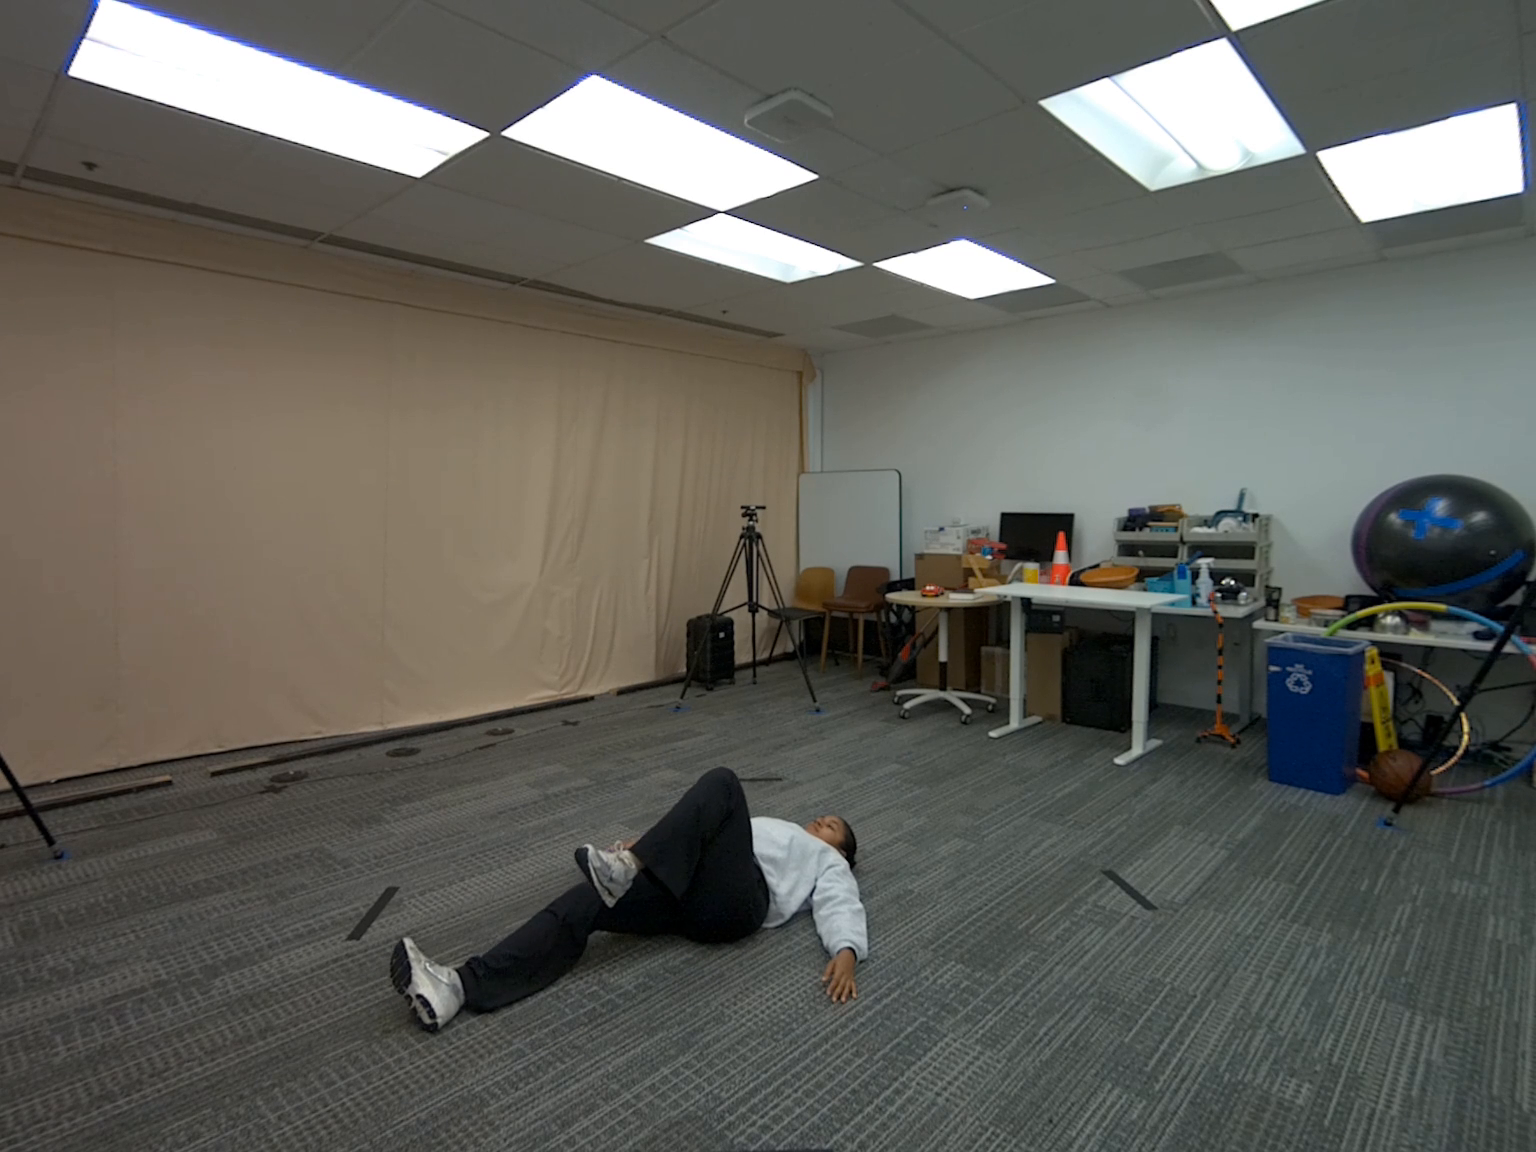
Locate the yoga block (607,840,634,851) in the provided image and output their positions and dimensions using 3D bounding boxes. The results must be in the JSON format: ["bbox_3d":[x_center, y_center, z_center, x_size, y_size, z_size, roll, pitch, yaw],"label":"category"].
[{"bbox_3d":[-0.560,1.092,3.159,0.225,0.076,0.152,-3,5,-20],"label":"yoga block"}]
